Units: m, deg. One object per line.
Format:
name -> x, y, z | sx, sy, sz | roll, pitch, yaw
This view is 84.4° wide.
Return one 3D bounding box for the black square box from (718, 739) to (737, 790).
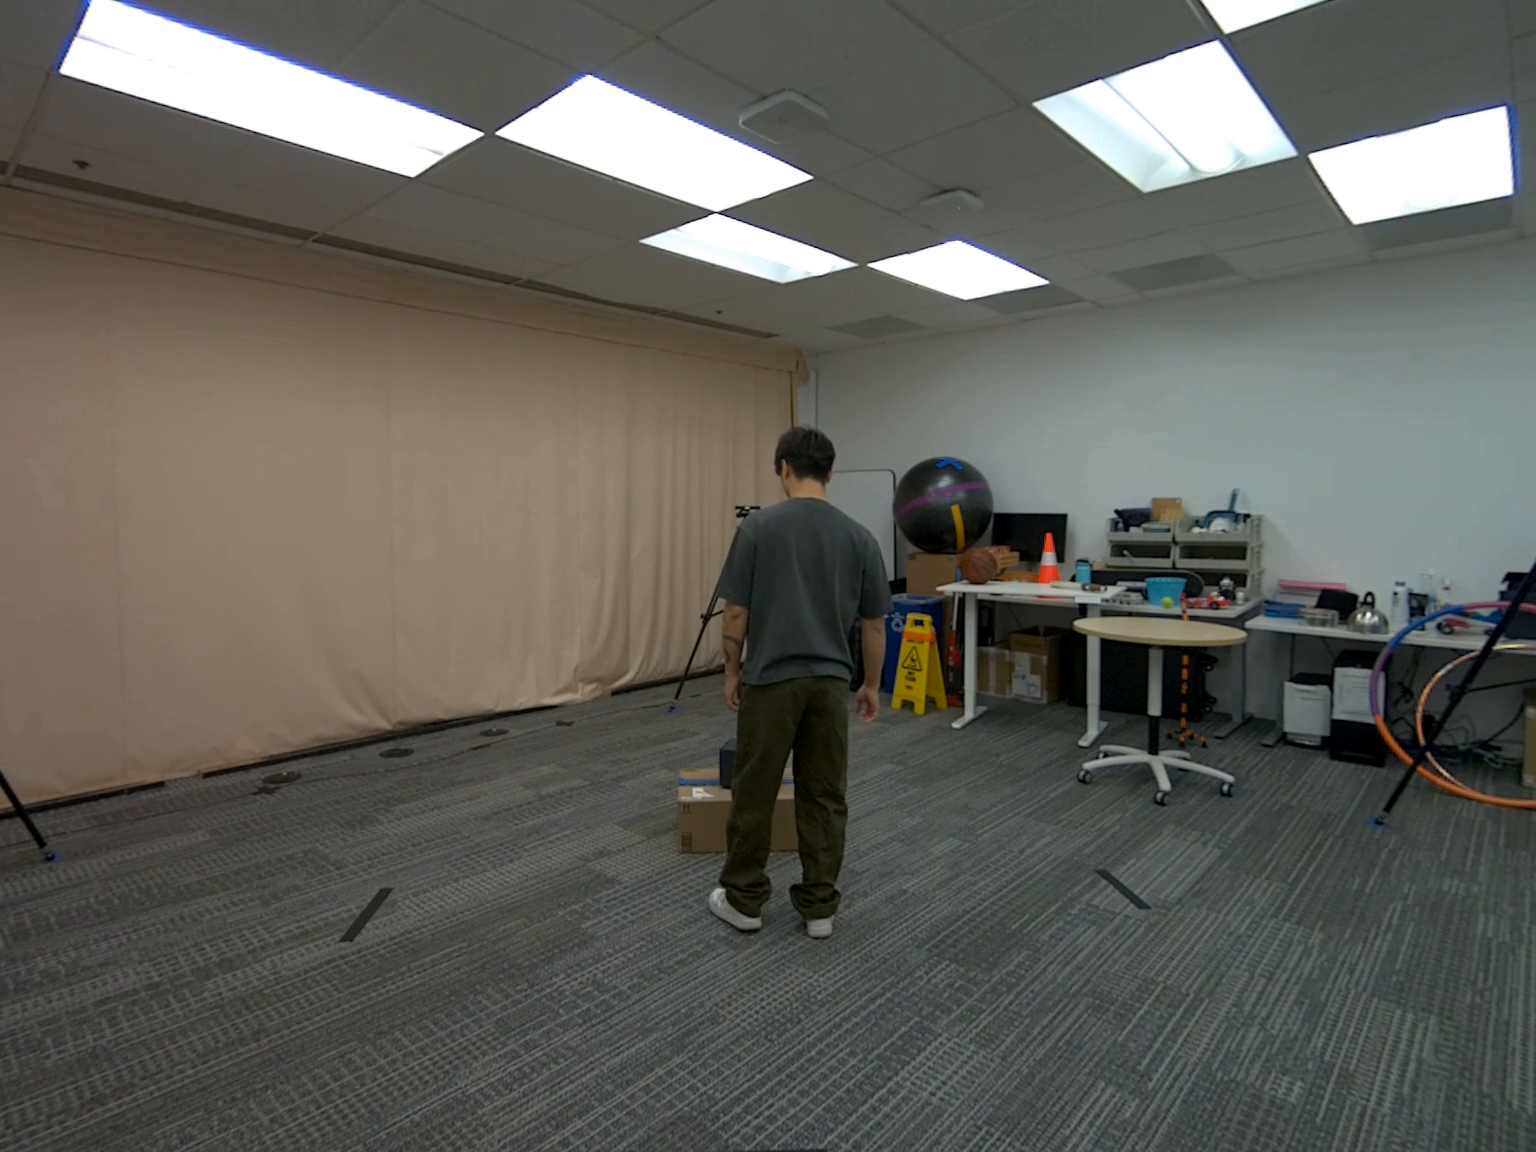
black square box -> -0.075, 0.795, 3.582 | 0.230, 0.156, 0.215 | 1, 1, 9
